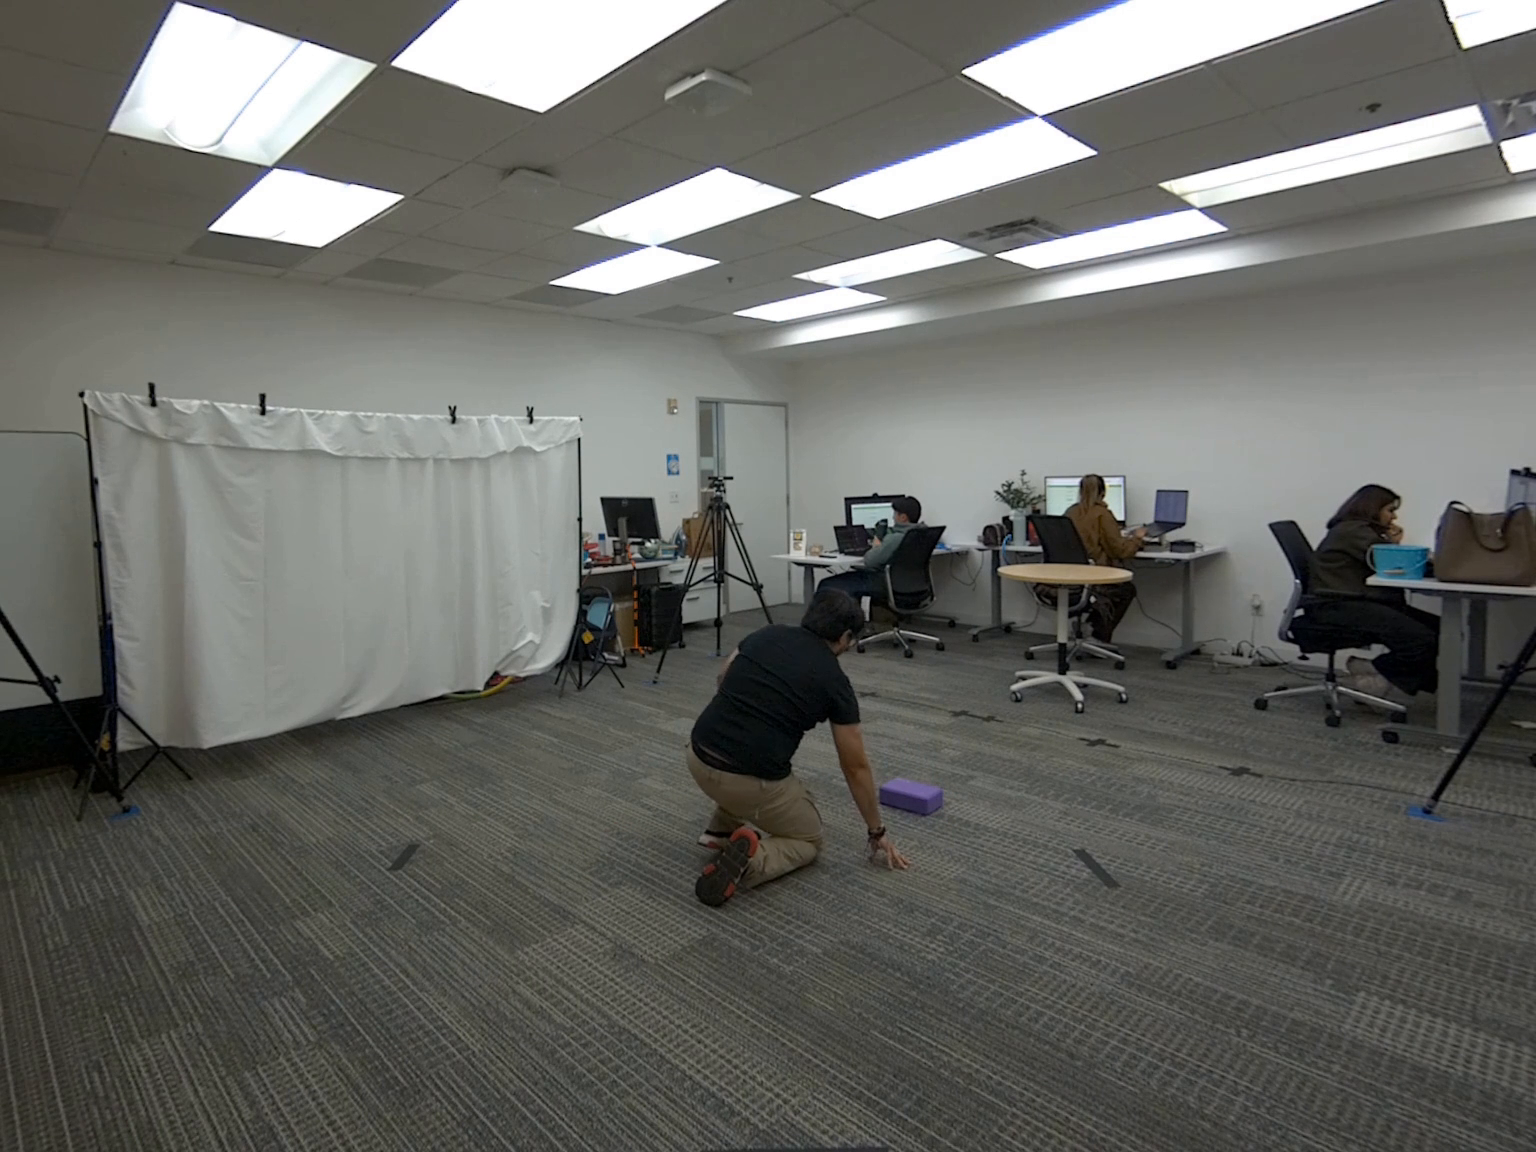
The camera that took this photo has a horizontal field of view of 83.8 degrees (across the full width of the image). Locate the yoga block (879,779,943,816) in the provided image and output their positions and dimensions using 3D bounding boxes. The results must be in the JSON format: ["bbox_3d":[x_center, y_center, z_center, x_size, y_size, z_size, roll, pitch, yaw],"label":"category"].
[{"bbox_3d":[0.608,0.930,3.609,0.236,0.076,0.145,4,7,41],"label":"yoga block"}]
